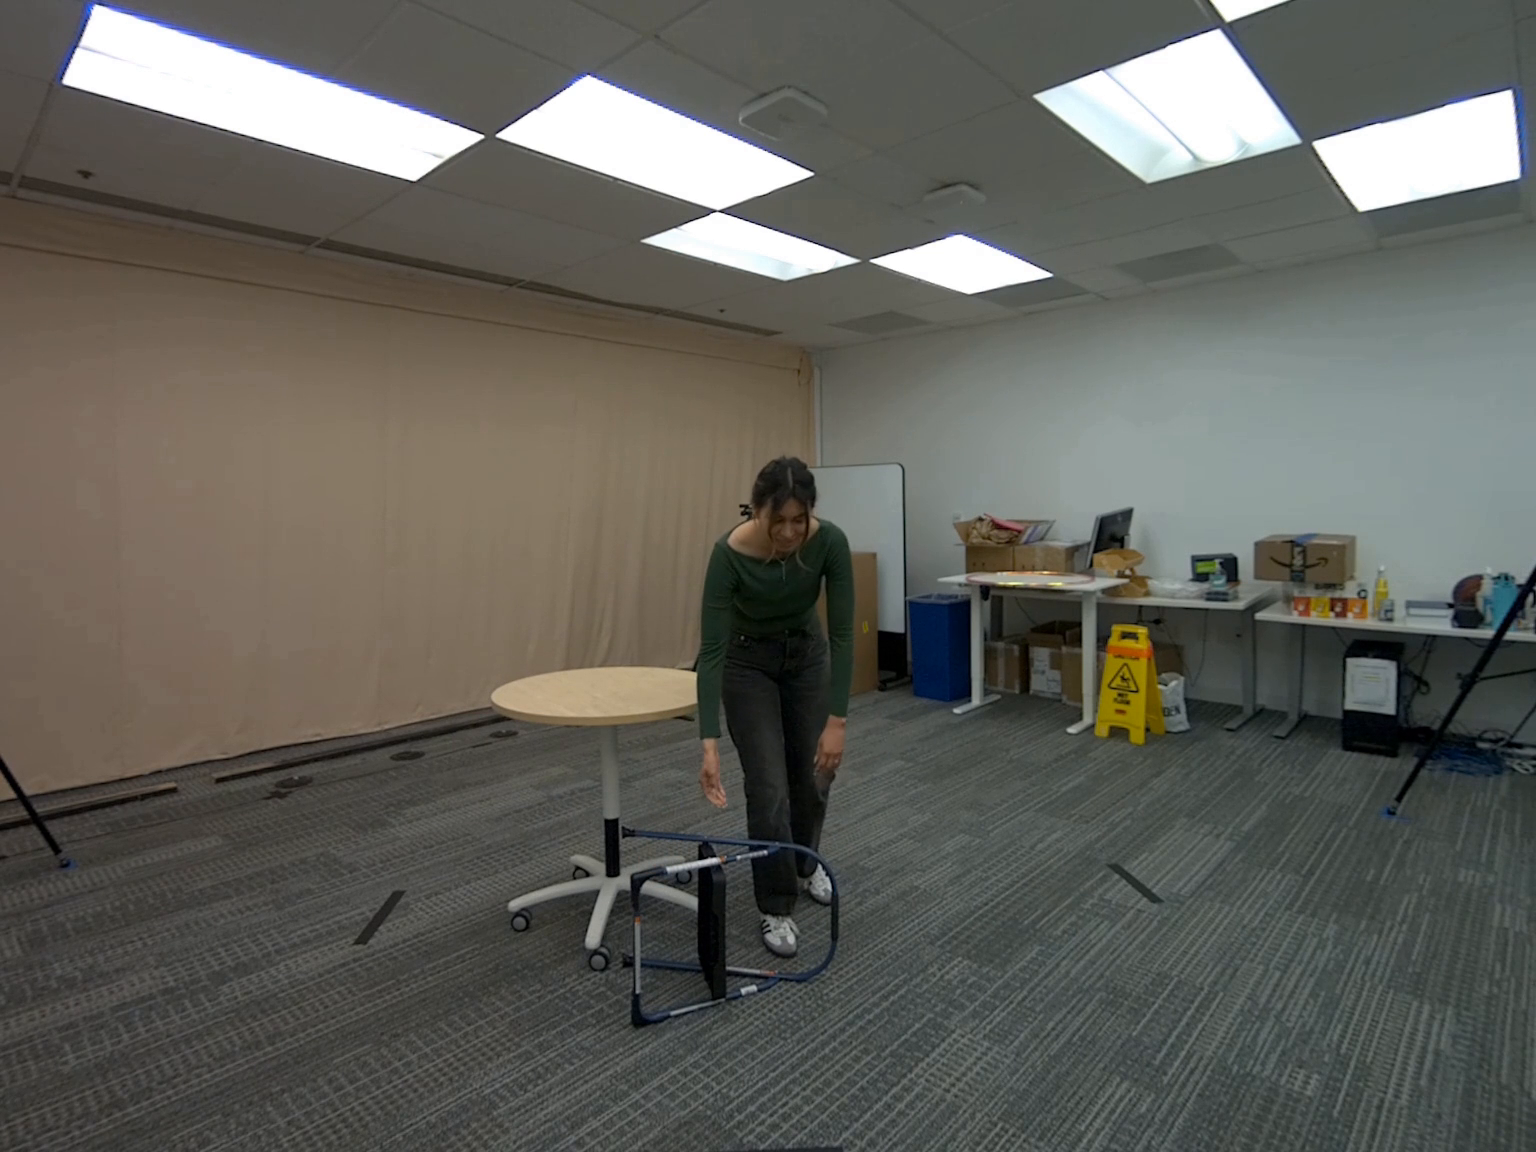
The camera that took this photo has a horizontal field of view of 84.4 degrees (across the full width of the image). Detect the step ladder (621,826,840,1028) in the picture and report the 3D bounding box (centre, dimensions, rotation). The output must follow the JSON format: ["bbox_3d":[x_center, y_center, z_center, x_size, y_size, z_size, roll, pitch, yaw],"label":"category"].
[{"bbox_3d":[-0.103,0.970,2.451,0.599,0.429,0.354,-1,5,-11],"label":"step ladder"}]
